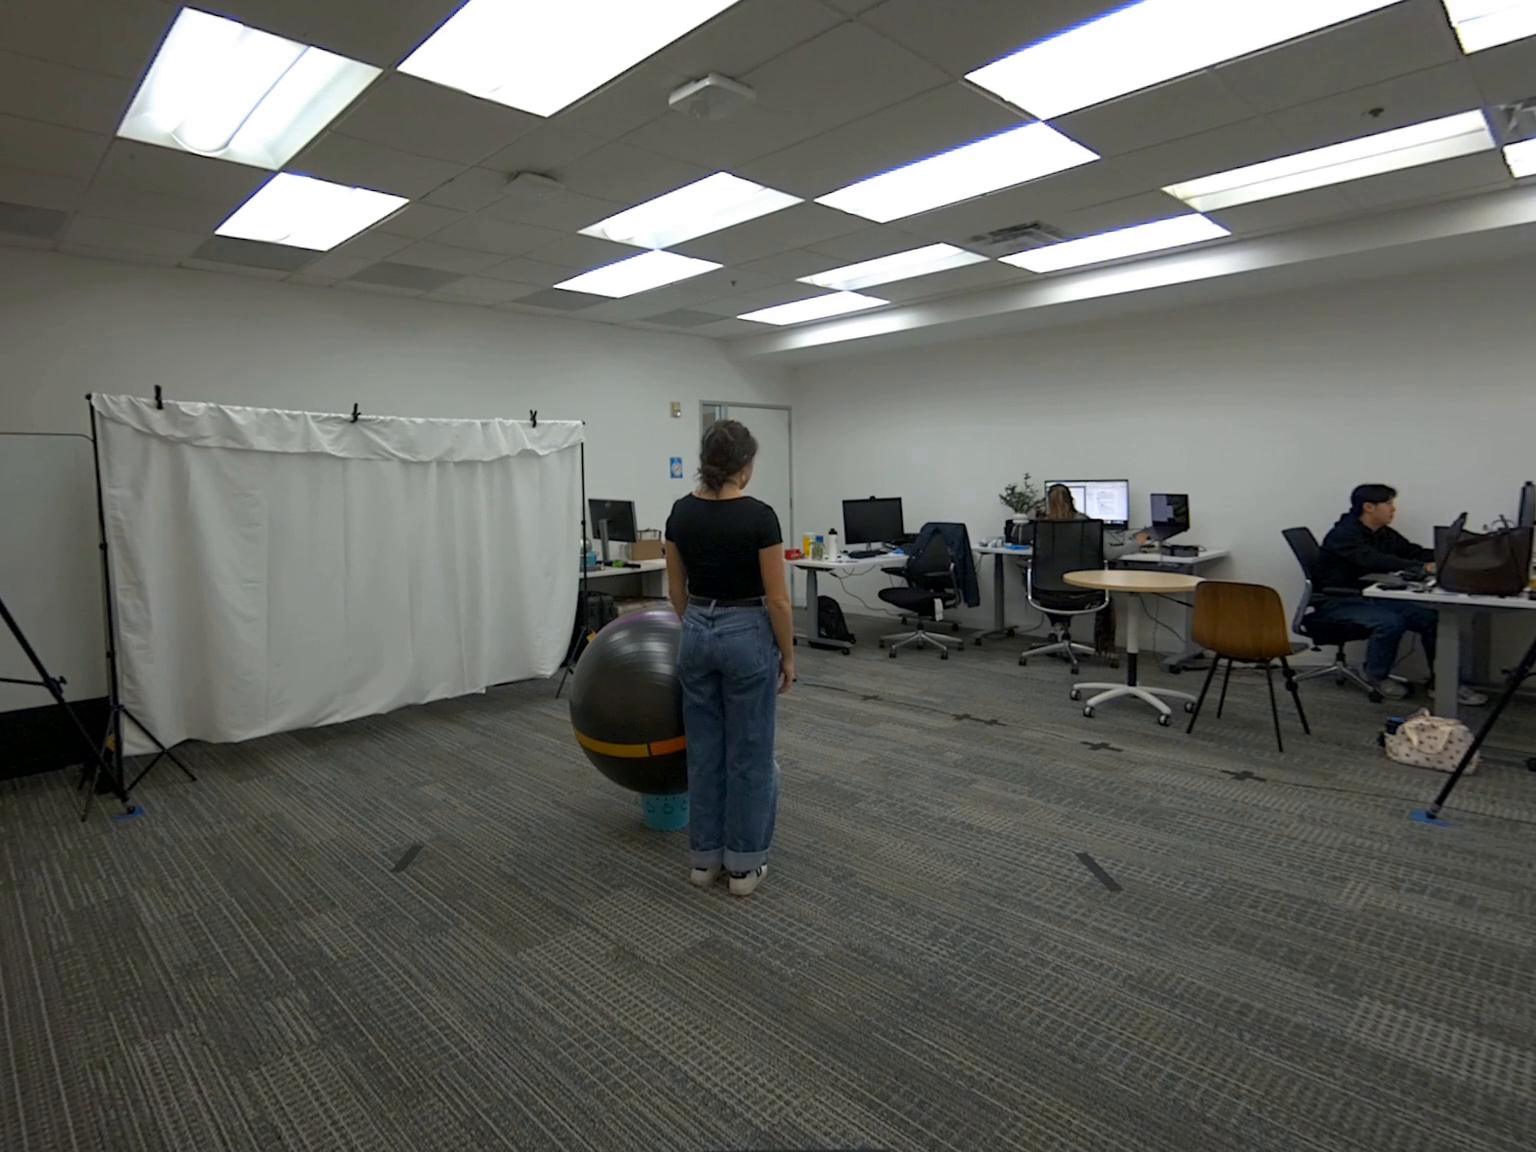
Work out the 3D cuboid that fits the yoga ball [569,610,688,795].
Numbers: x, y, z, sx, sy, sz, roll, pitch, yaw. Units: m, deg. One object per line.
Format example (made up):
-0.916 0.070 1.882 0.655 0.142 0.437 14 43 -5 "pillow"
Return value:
-0.430 0.502 3.486 0.757 0.755 0.762 -1 5 -2 "yoga ball"
